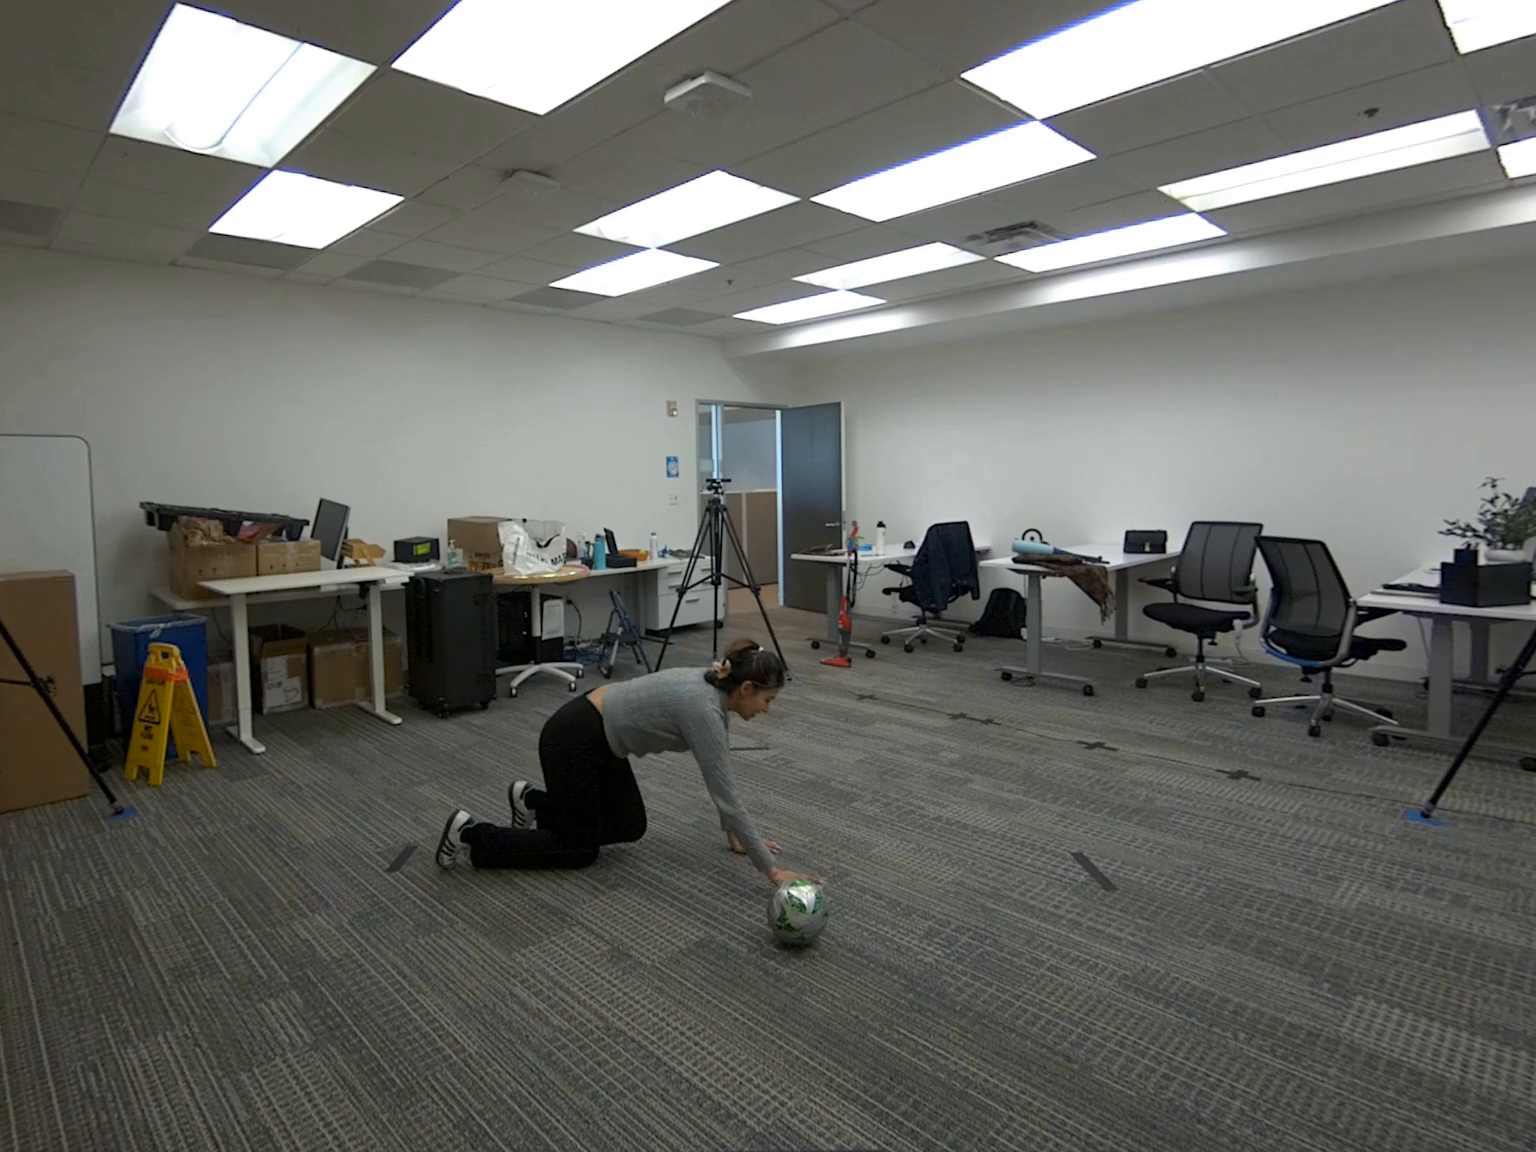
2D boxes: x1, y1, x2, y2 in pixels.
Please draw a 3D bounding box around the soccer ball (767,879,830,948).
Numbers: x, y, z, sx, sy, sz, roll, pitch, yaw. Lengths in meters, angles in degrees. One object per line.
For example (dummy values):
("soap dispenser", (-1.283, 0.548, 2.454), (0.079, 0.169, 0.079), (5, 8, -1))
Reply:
("soccer ball", (0.093, 1.010, 2.571), (0.187, 0.187, 0.188), (-1, 5, -2))
